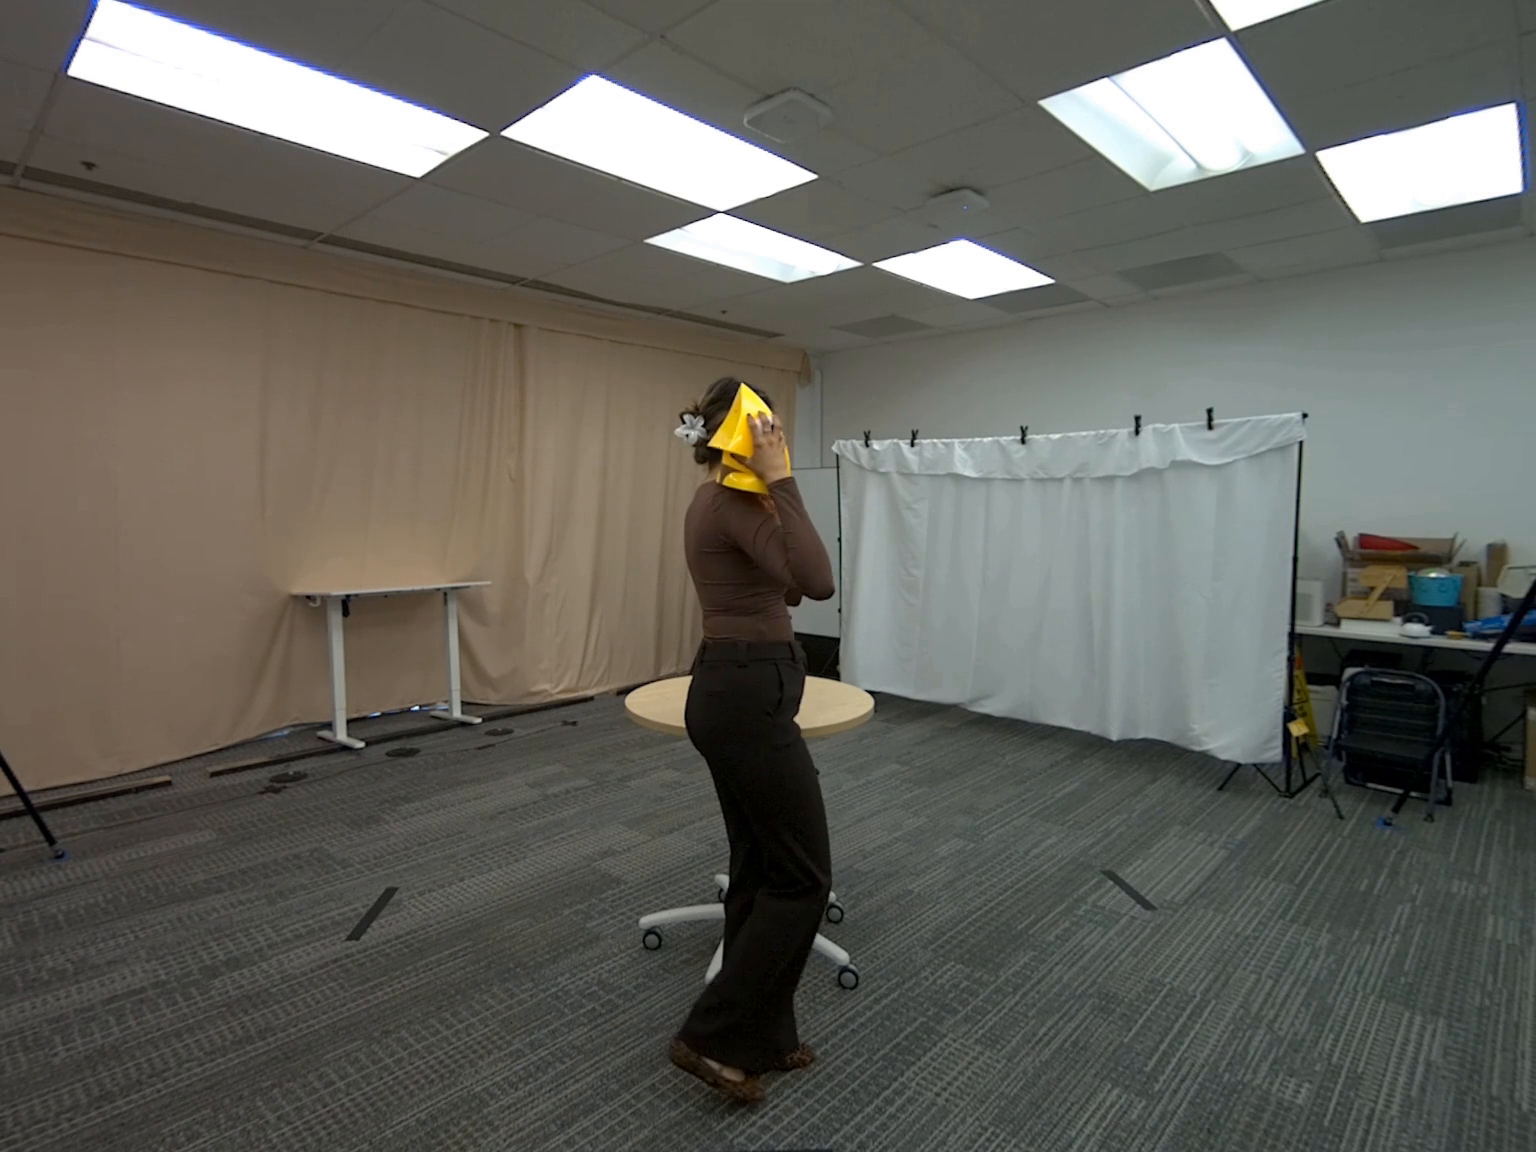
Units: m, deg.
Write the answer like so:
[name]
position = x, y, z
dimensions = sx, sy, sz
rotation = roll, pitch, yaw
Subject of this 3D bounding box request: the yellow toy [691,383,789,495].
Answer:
[yellow toy]
position = -0.019, -0.311, 1.920
dimensions = 0.189, 0.230, 0.209
rotation = 9, 8, -18
